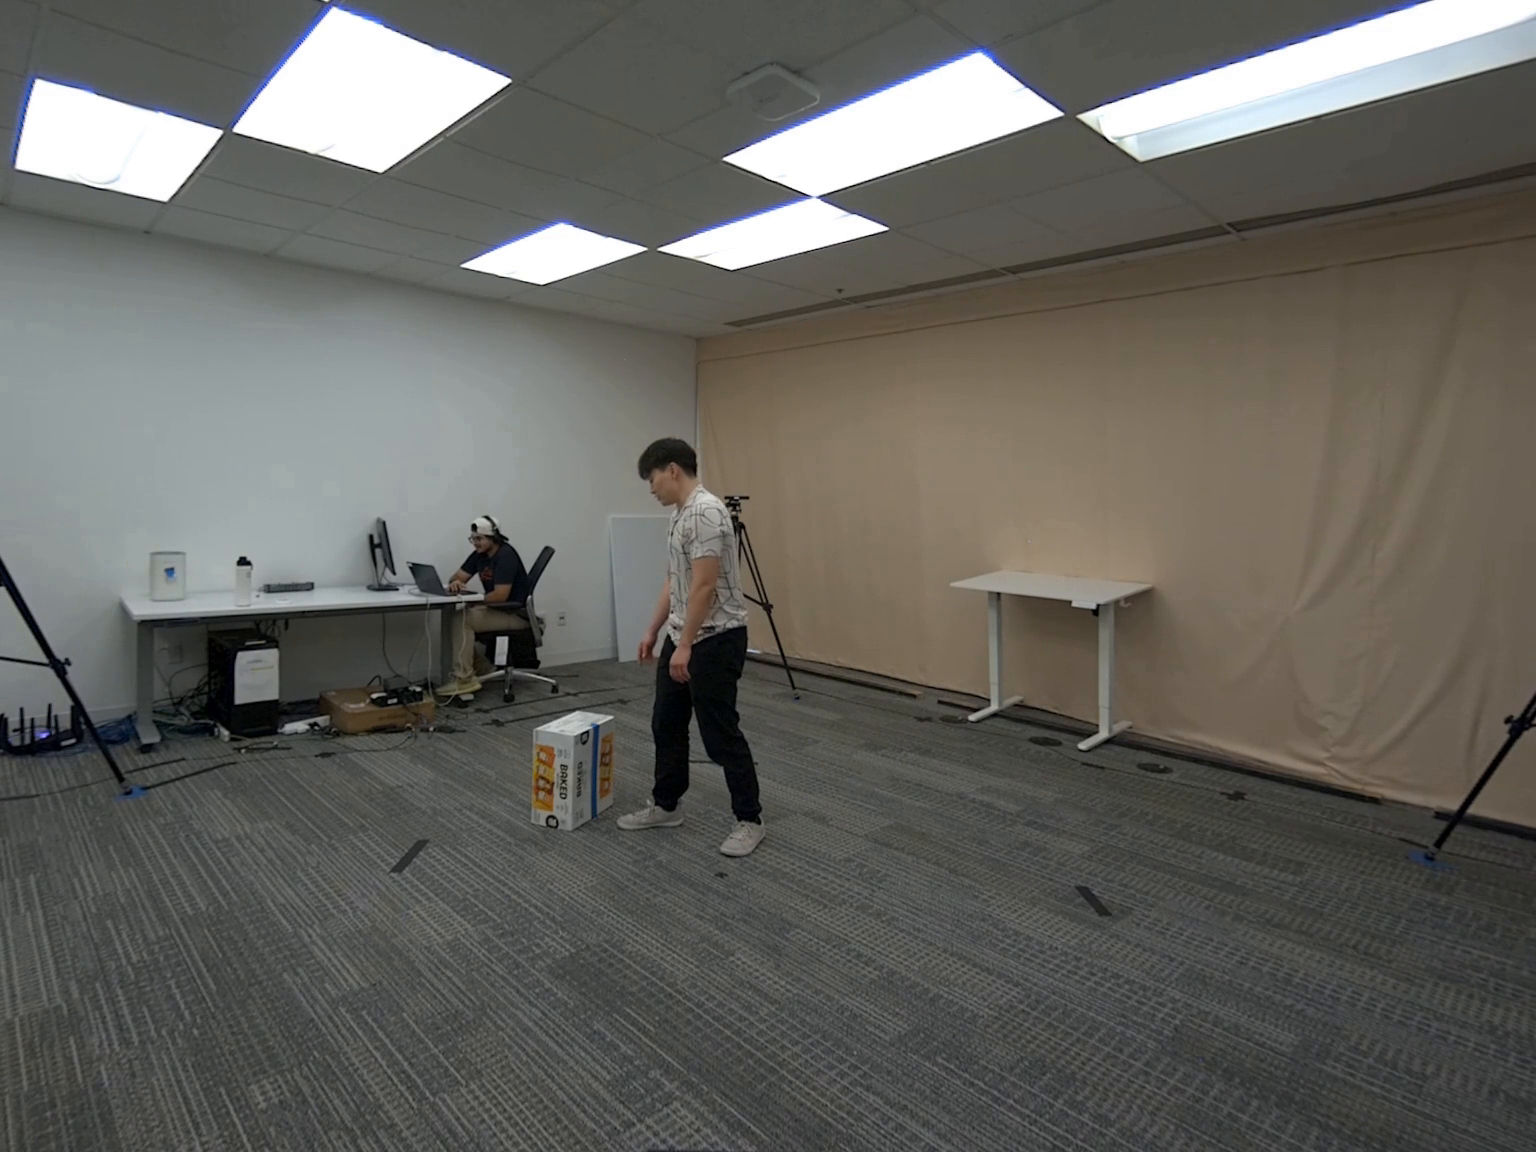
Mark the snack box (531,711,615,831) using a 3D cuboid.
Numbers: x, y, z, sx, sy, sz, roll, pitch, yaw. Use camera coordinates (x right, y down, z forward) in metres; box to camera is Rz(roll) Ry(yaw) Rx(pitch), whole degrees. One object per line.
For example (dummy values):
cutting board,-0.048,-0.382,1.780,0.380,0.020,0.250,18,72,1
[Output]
snack box,-0.847,0.833,3.654,0.209,0.404,0.336,3,5,20
